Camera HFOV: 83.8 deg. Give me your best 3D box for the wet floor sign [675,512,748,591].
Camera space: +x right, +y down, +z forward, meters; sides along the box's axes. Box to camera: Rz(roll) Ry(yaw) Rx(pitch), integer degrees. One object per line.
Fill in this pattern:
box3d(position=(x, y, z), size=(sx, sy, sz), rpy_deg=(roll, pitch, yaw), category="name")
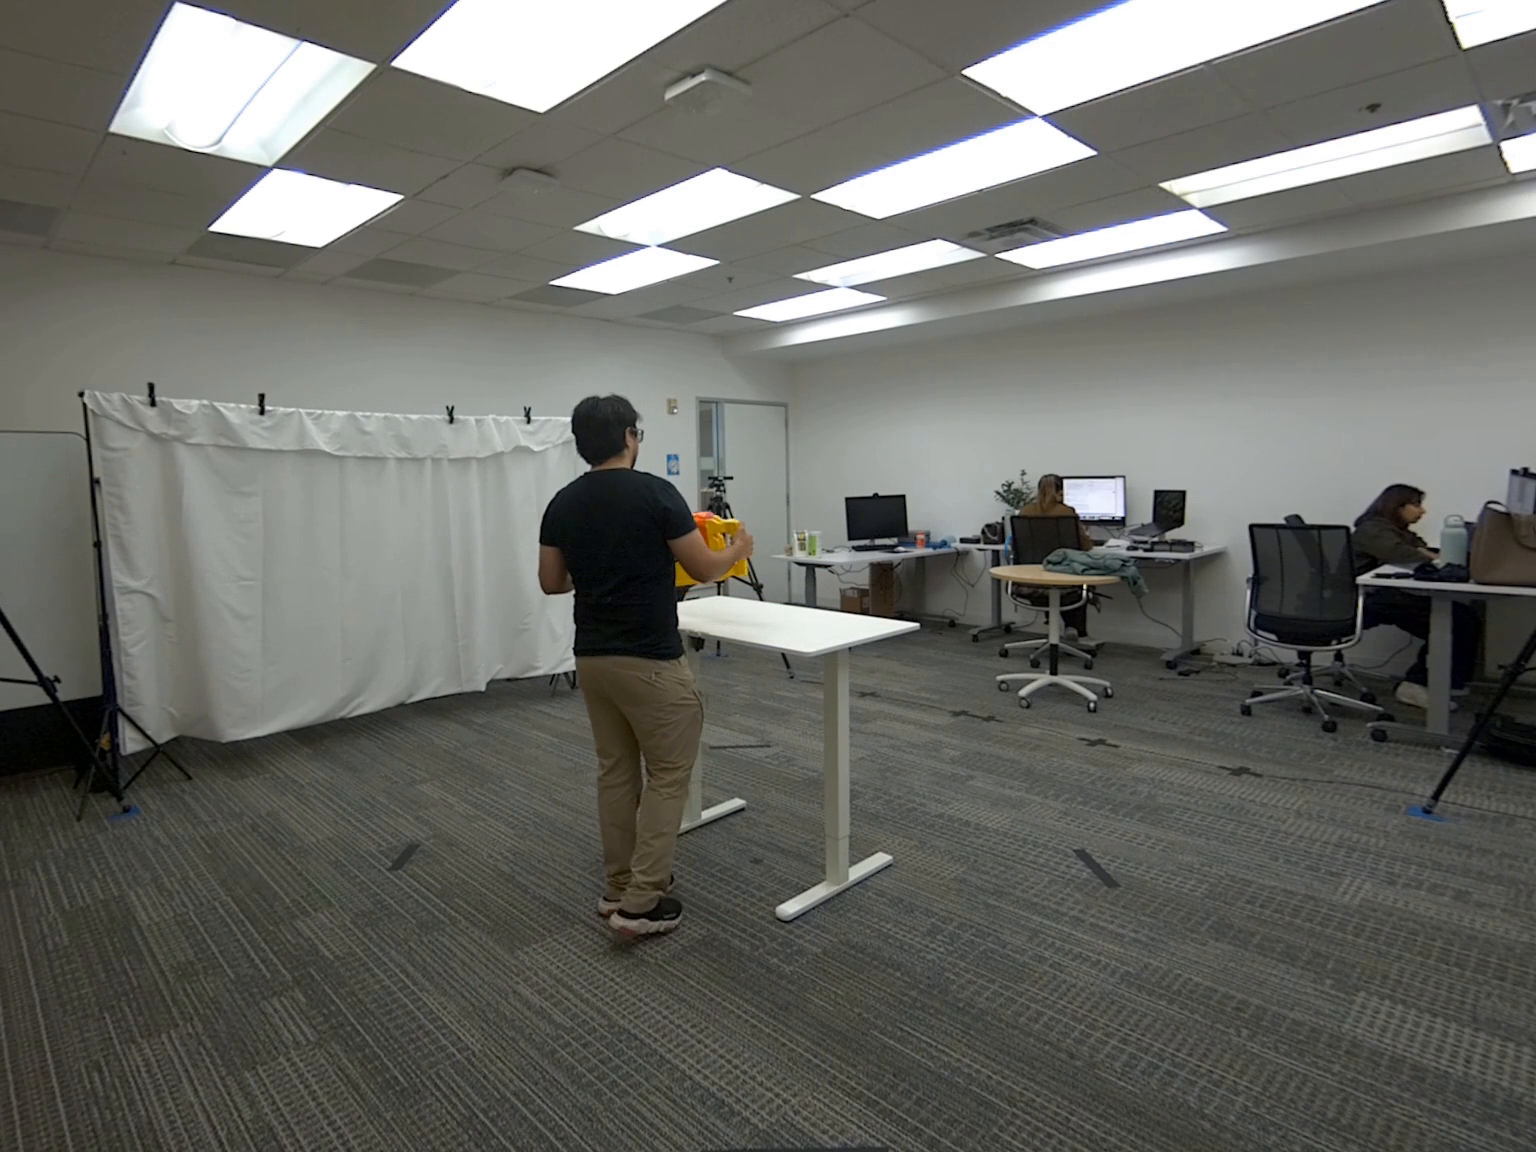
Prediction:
box3d(position=(-0.369, -0.091, 3.062), size=(0.661, 0.277, 0.288), rpy_deg=(-1, 19, 27), category="wet floor sign")
